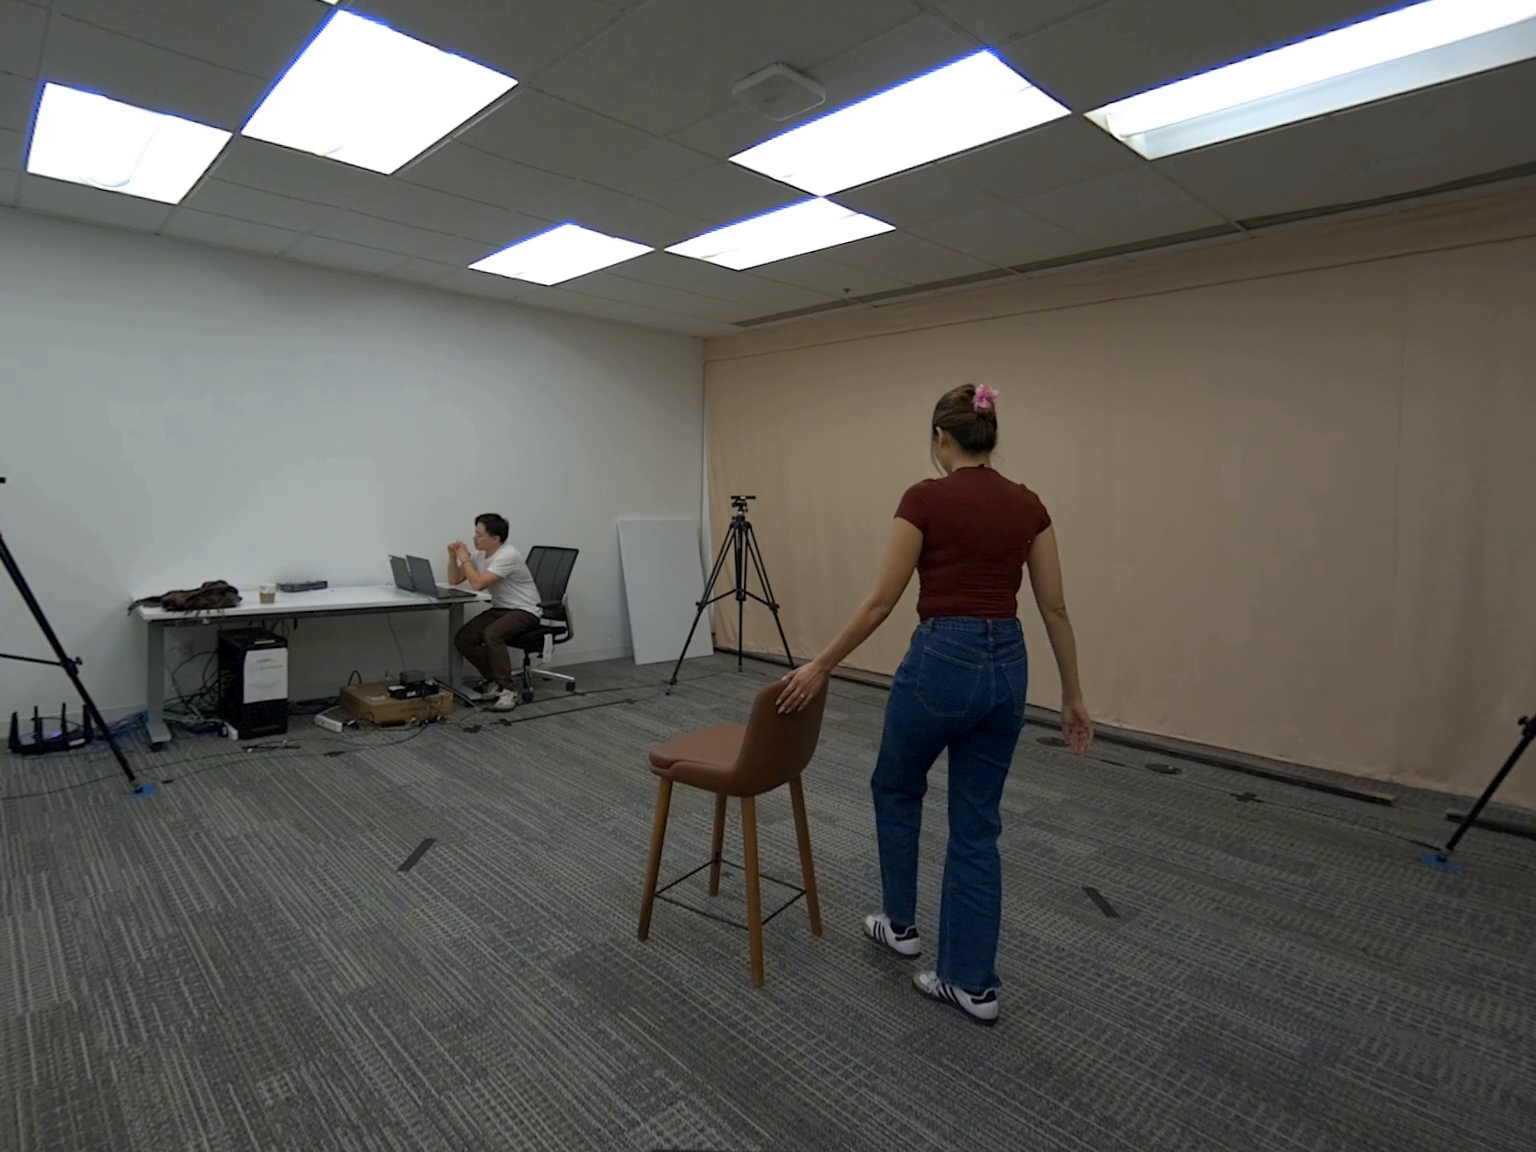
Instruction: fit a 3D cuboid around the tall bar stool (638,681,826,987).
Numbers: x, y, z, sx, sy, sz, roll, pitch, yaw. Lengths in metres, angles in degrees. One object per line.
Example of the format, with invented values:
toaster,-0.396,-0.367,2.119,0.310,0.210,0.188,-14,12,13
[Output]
tall bar stool,-0.099,0.711,2.641,0.479,0.886,0.447,7,7,34
